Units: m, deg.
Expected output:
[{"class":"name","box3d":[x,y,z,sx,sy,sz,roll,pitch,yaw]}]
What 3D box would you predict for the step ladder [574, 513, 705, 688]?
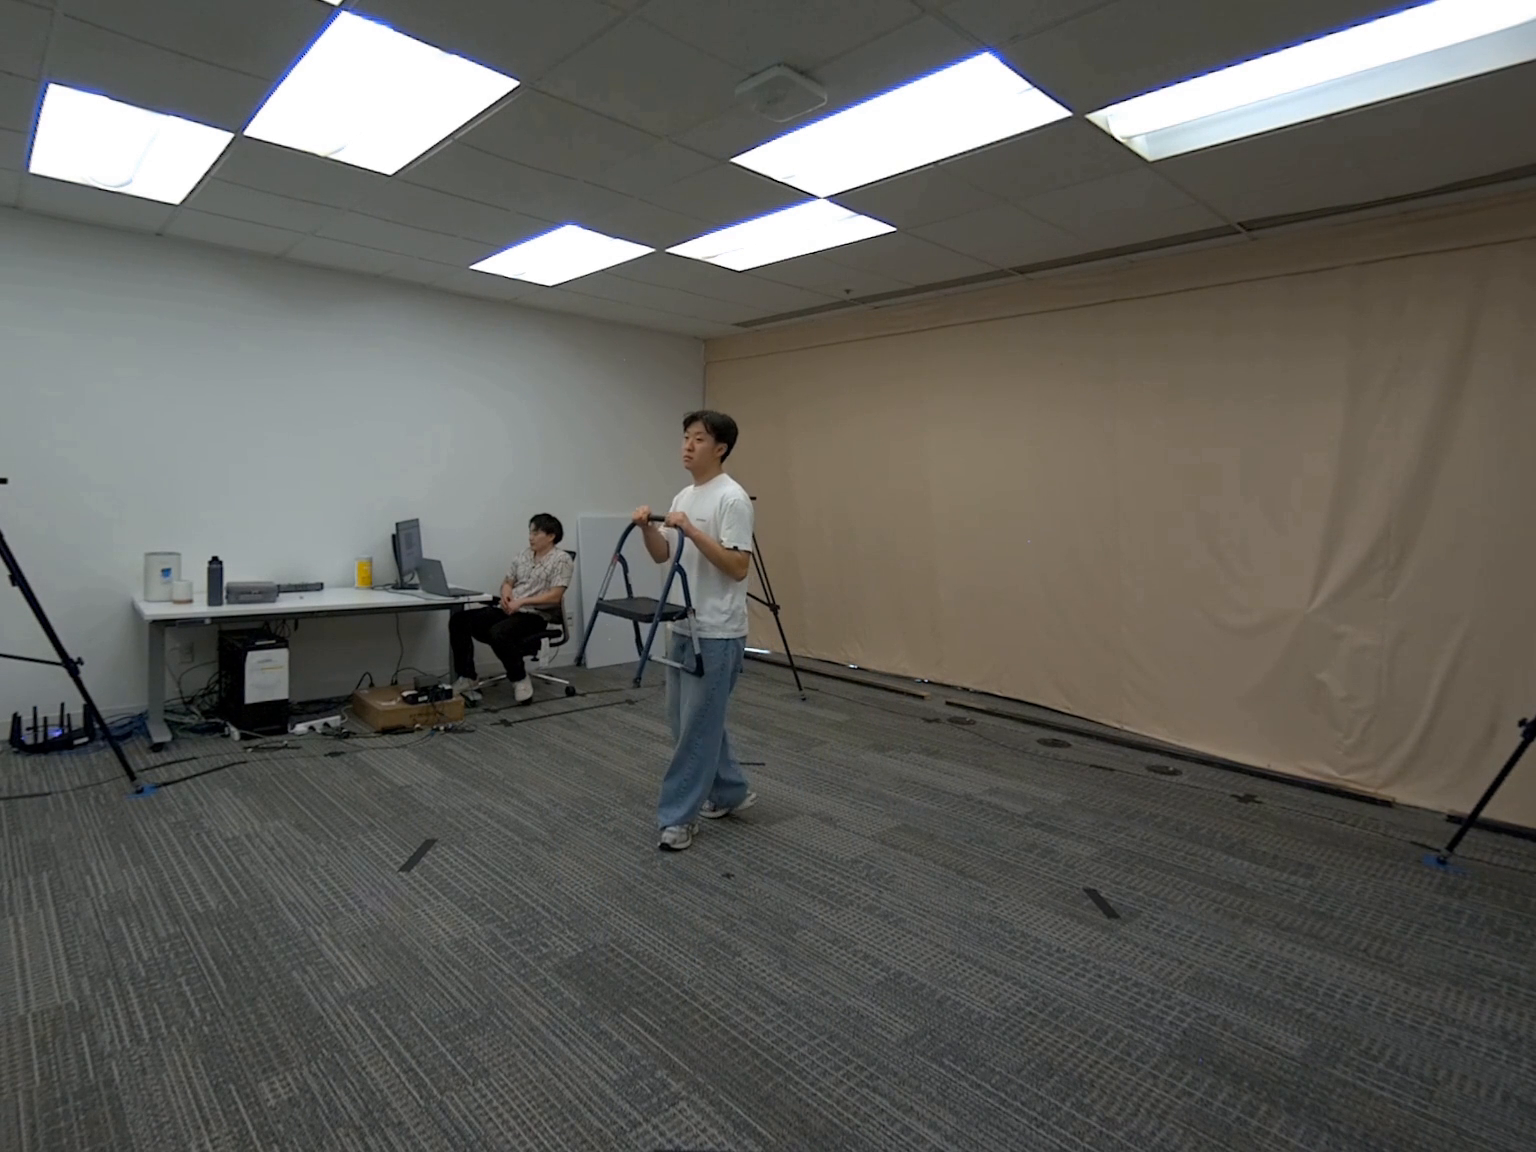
[{"class":"step ladder","box3d":[-0.499,0.074,3.248,0.341,0.604,0.442,-1,6,-44]}]
